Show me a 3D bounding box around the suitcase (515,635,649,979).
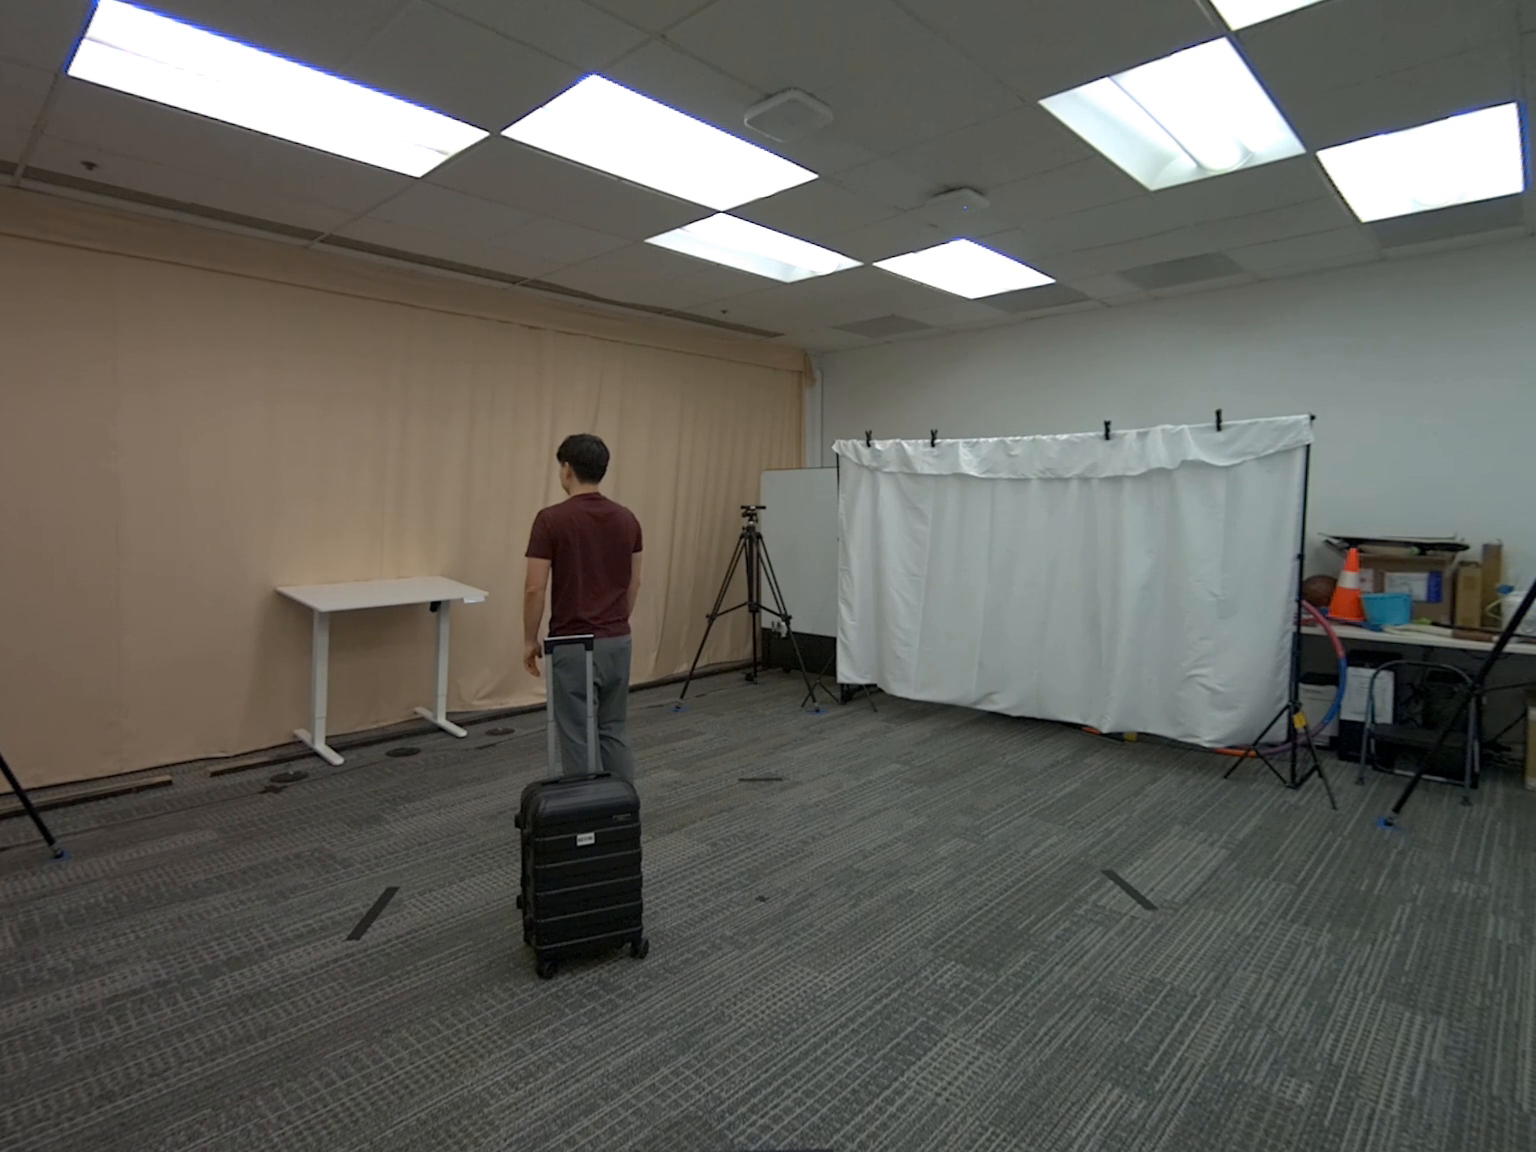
[{"bbox_3d":[-0.579,0.704,2.600,0.376,0.975,0.263,-3,6,-21],"label":"suitcase"}]
